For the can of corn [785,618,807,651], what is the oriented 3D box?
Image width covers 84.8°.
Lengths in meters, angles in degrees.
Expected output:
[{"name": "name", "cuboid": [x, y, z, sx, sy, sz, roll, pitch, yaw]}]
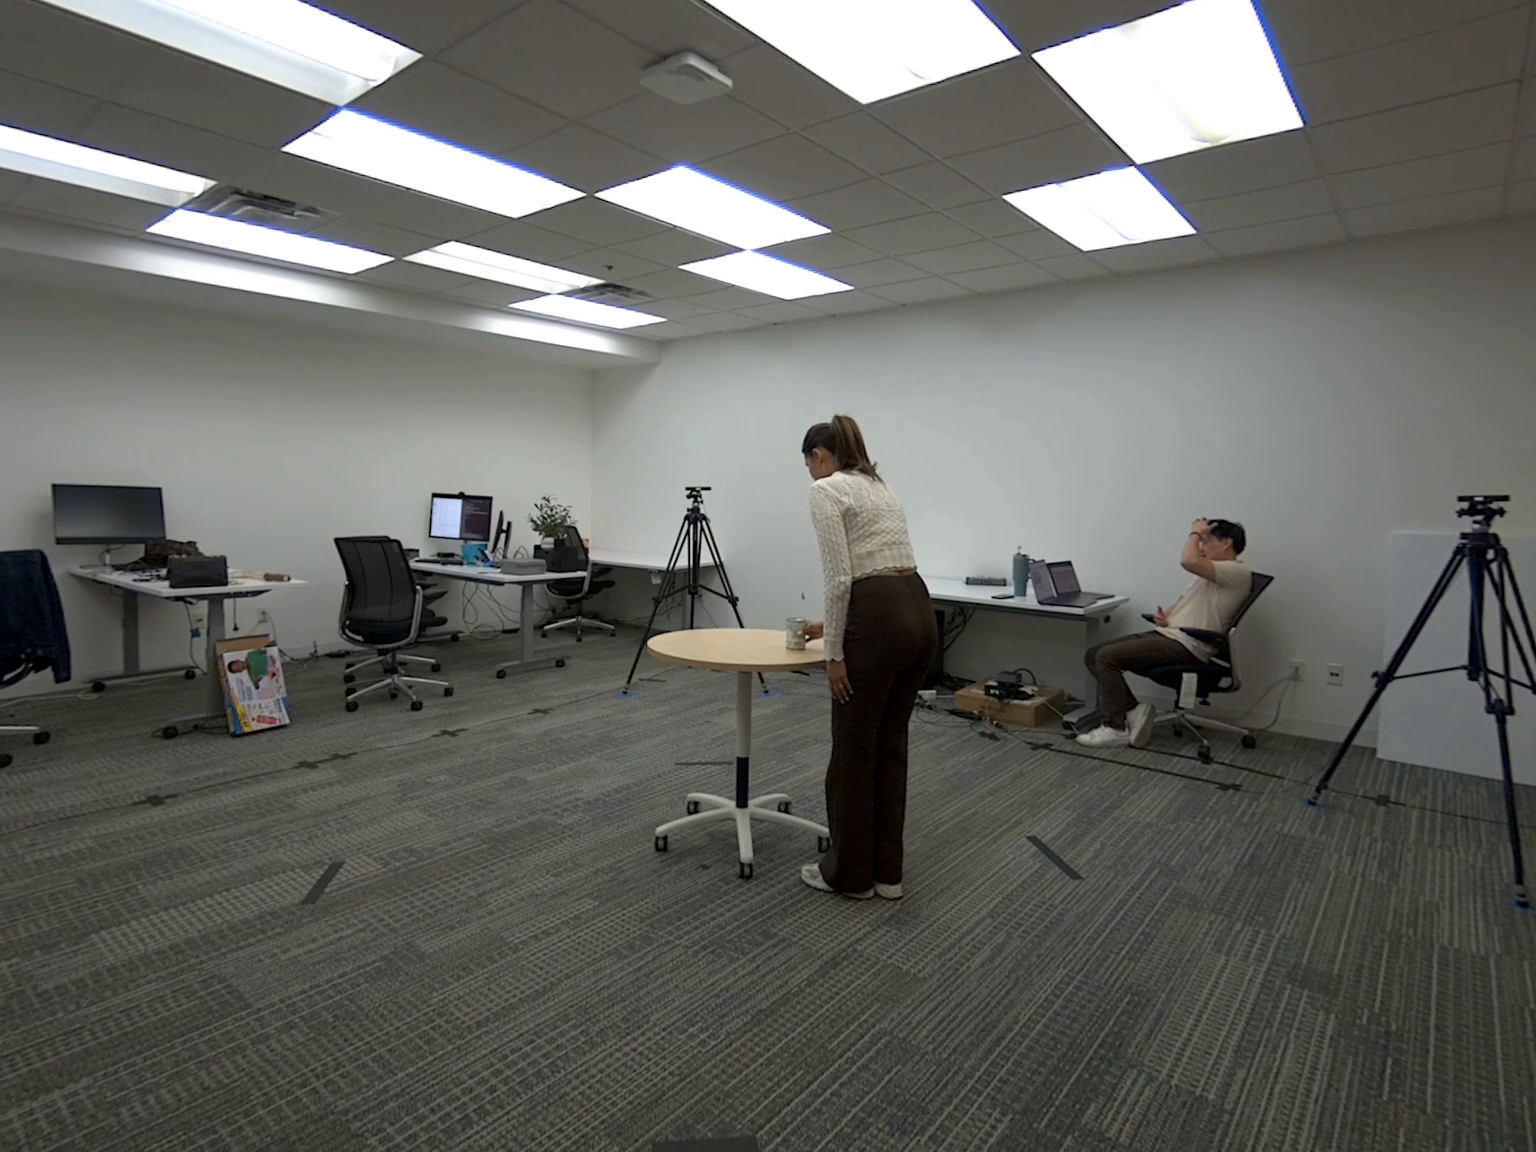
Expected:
[{"name": "can of corn", "cuboid": [0.098, 0.220, 3.250, 0.074, 0.111, 0.074, 4, 1, -2]}]
